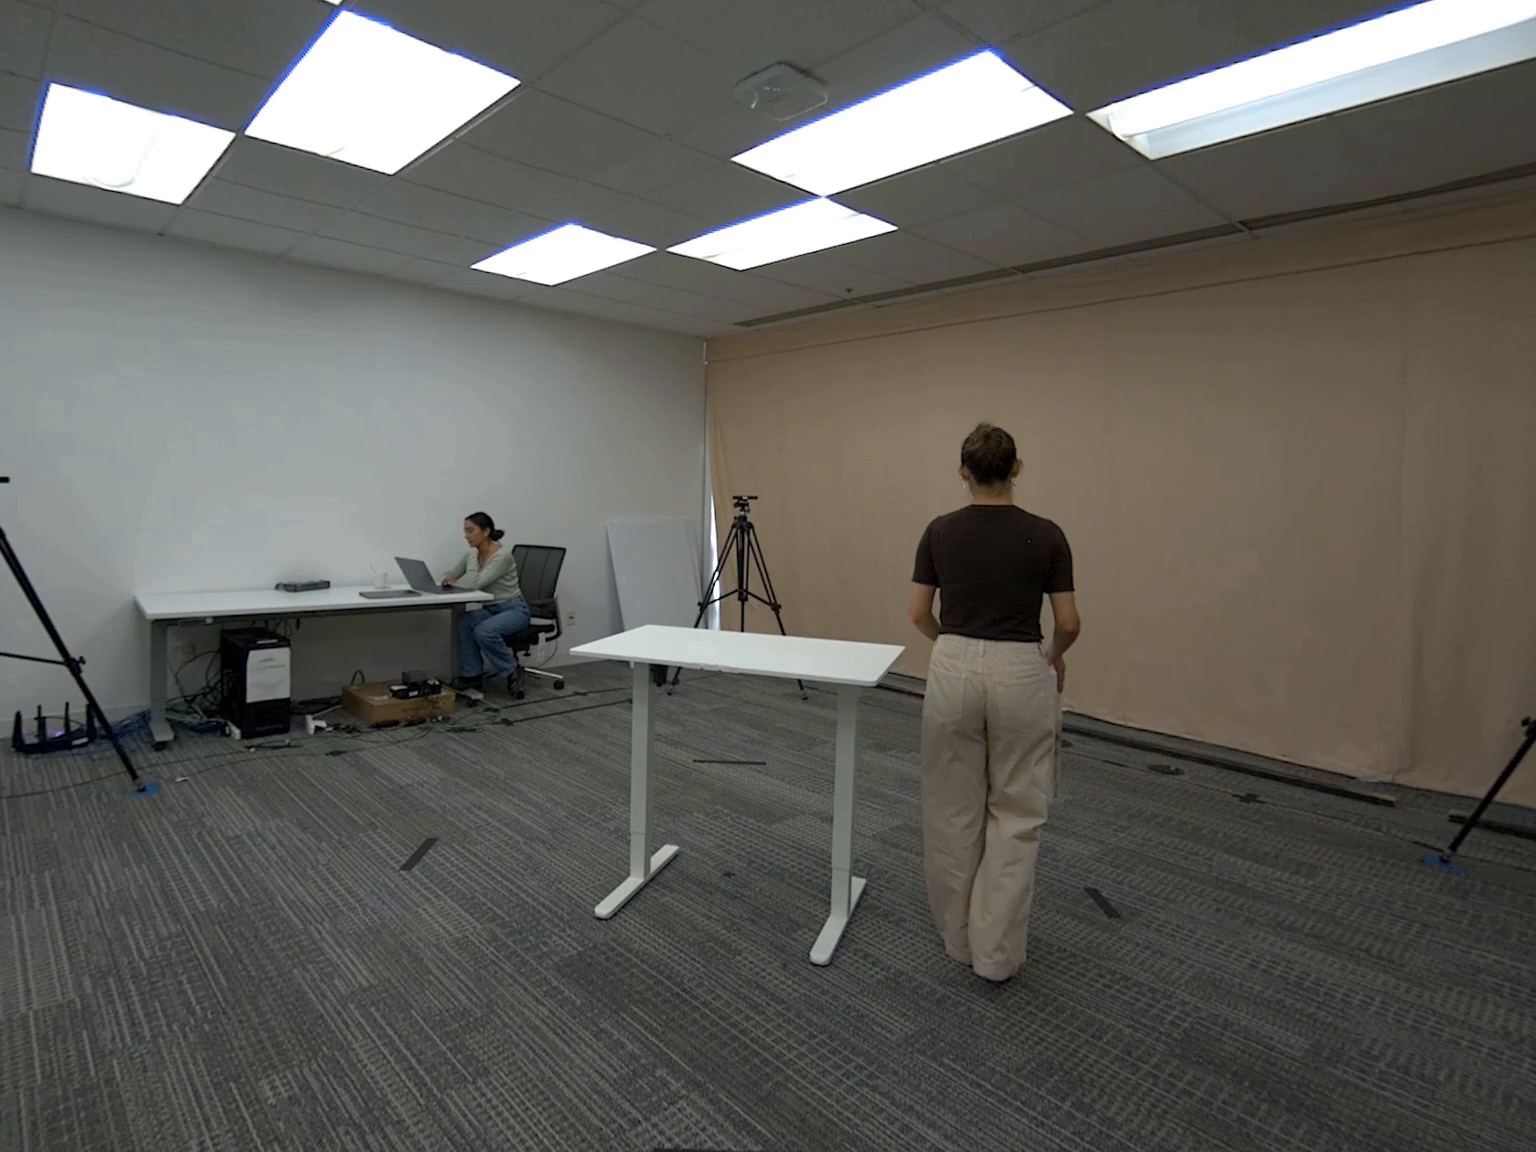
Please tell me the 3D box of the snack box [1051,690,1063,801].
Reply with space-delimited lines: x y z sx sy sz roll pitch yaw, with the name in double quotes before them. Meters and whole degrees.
"snack box" 0.786 0.511 2.794 0.347 0.406 0.201 2 -3 25
